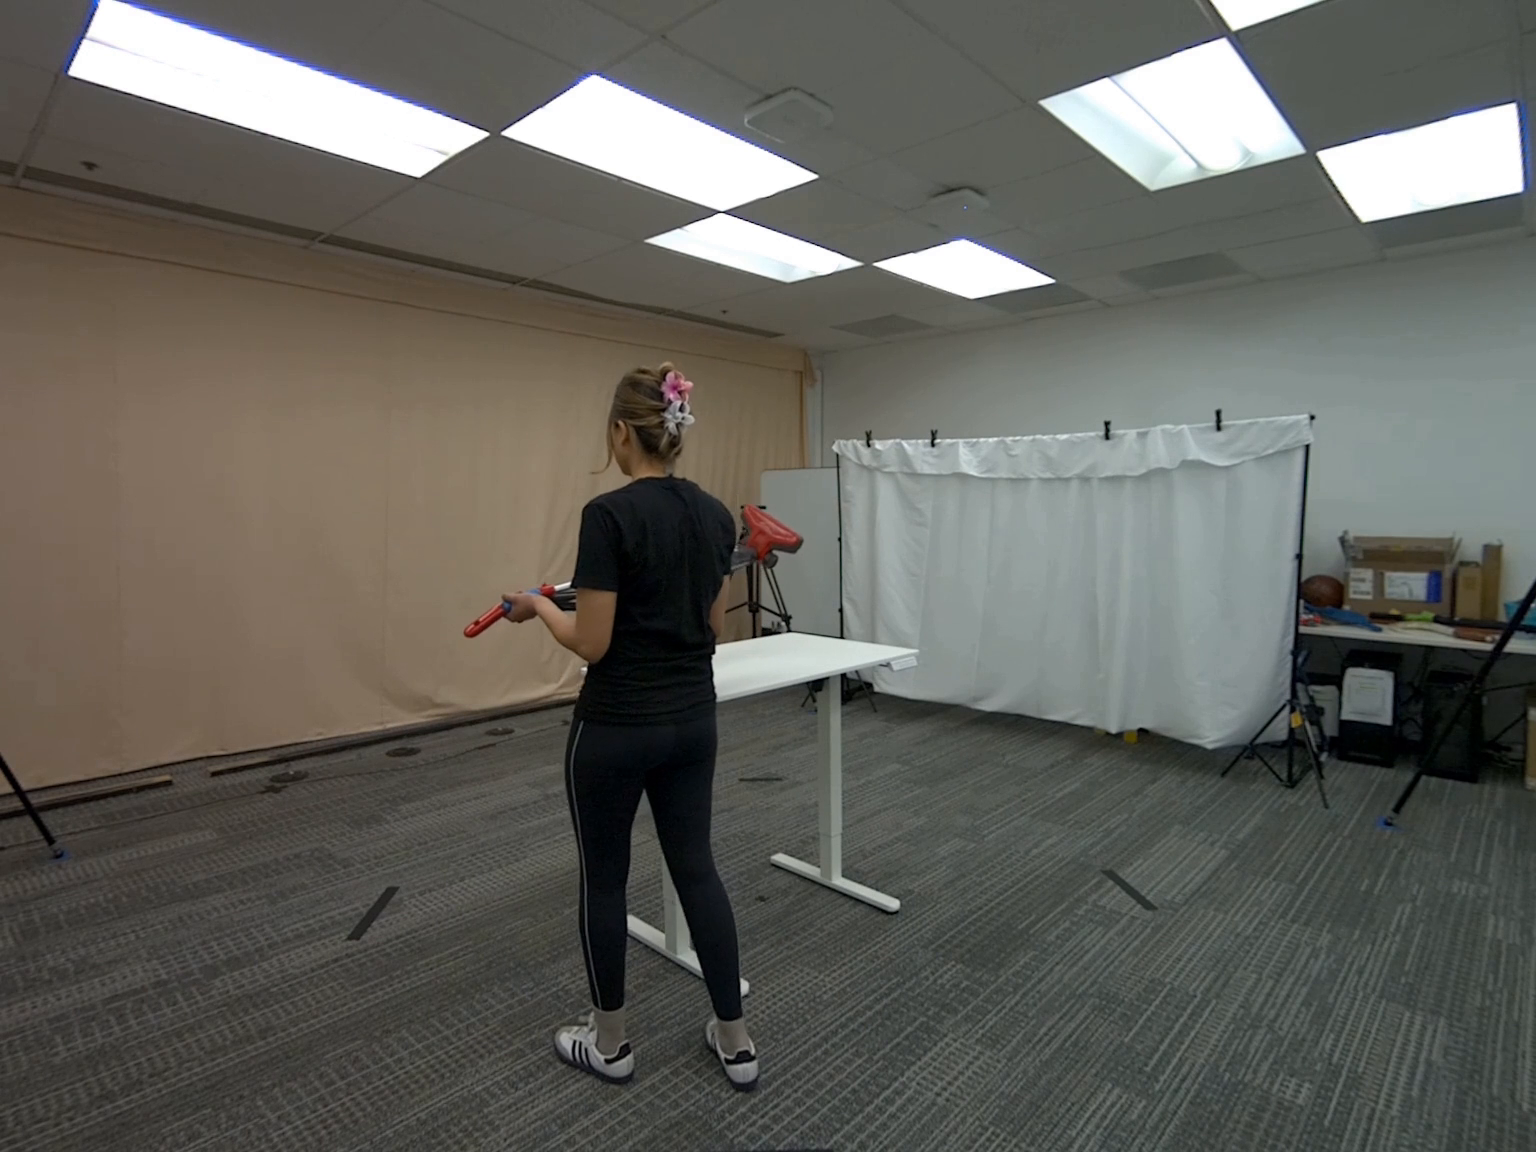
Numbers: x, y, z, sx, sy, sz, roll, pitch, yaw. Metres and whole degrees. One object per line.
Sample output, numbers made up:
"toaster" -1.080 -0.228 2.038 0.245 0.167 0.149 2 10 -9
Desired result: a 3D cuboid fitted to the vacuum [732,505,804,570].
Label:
"vacuum" -0.349 0.005 2.367 1.024 0.142 0.261 -19 43 -40
